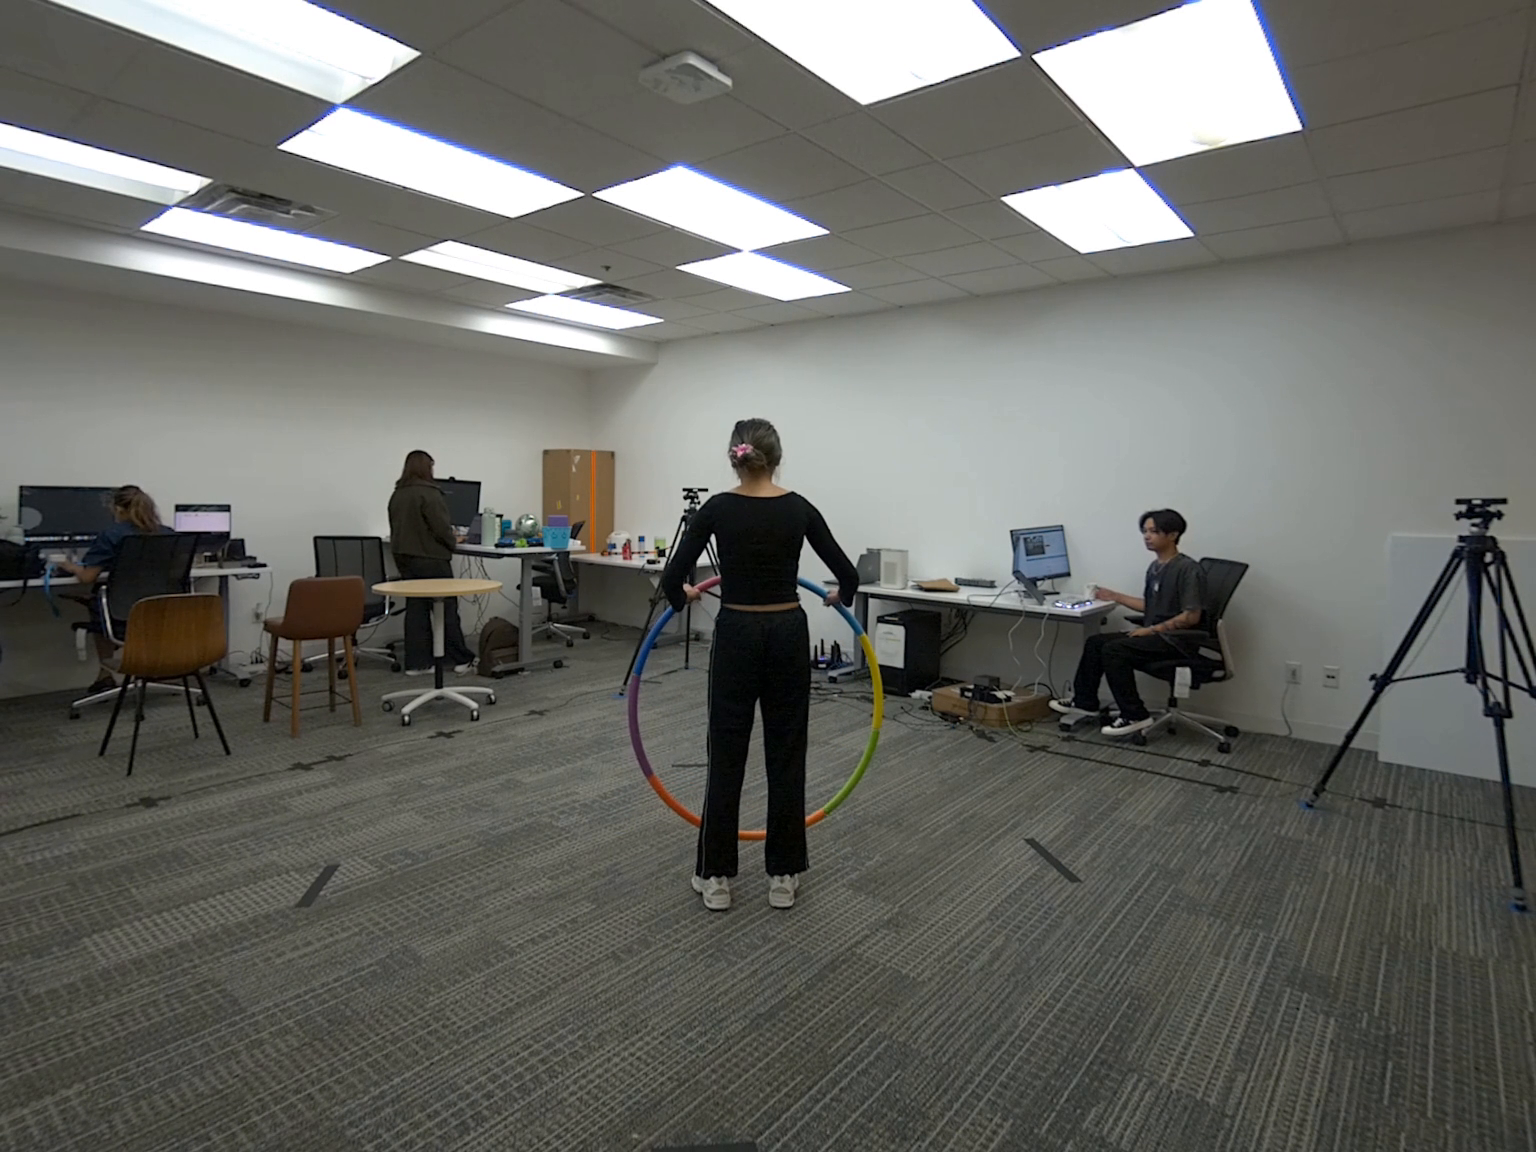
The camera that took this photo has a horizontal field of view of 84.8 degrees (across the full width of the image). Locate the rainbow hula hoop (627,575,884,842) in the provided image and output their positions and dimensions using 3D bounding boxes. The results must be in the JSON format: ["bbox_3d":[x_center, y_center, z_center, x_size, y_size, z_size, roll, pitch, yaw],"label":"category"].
[{"bbox_3d":[-0.047,0.480,3.183,0.967,0.983,0.036,0,-5,-10],"label":"rainbow hula hoop"}]
